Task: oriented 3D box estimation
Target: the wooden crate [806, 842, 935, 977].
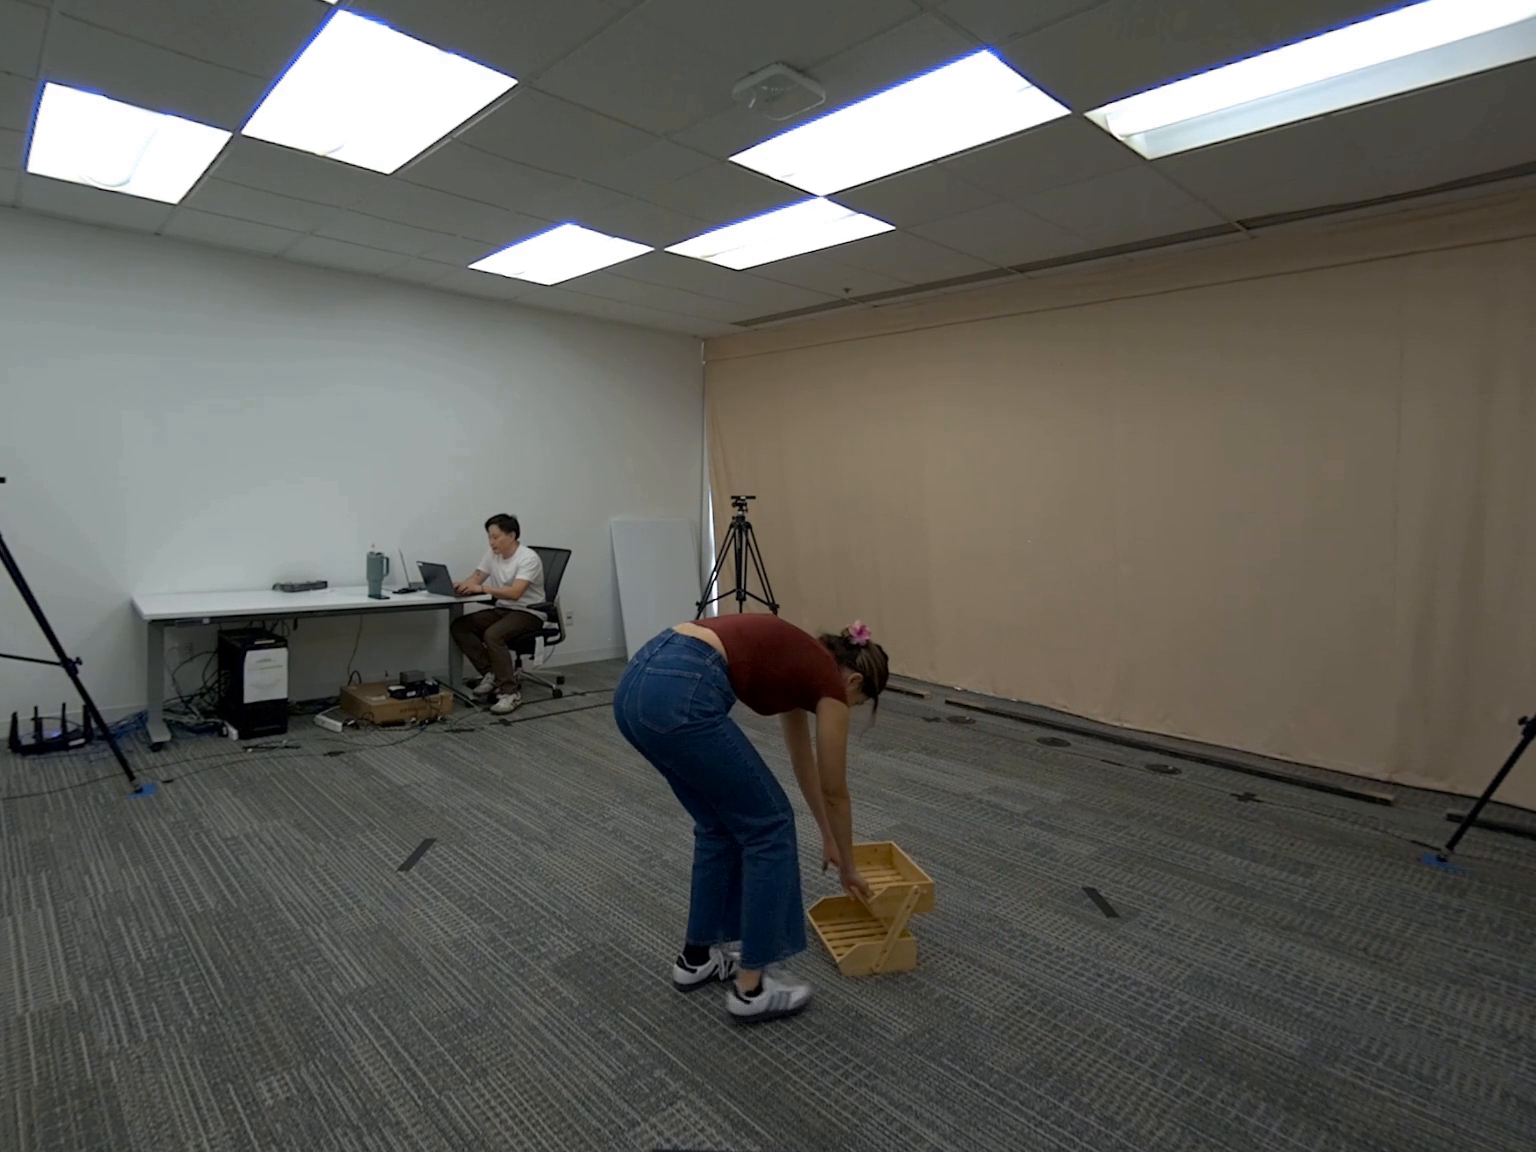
[{"bbox_3d":[0.300,1.023,2.623,0.298,0.272,0.329,0,5,-16],"label":"wooden crate"}]
